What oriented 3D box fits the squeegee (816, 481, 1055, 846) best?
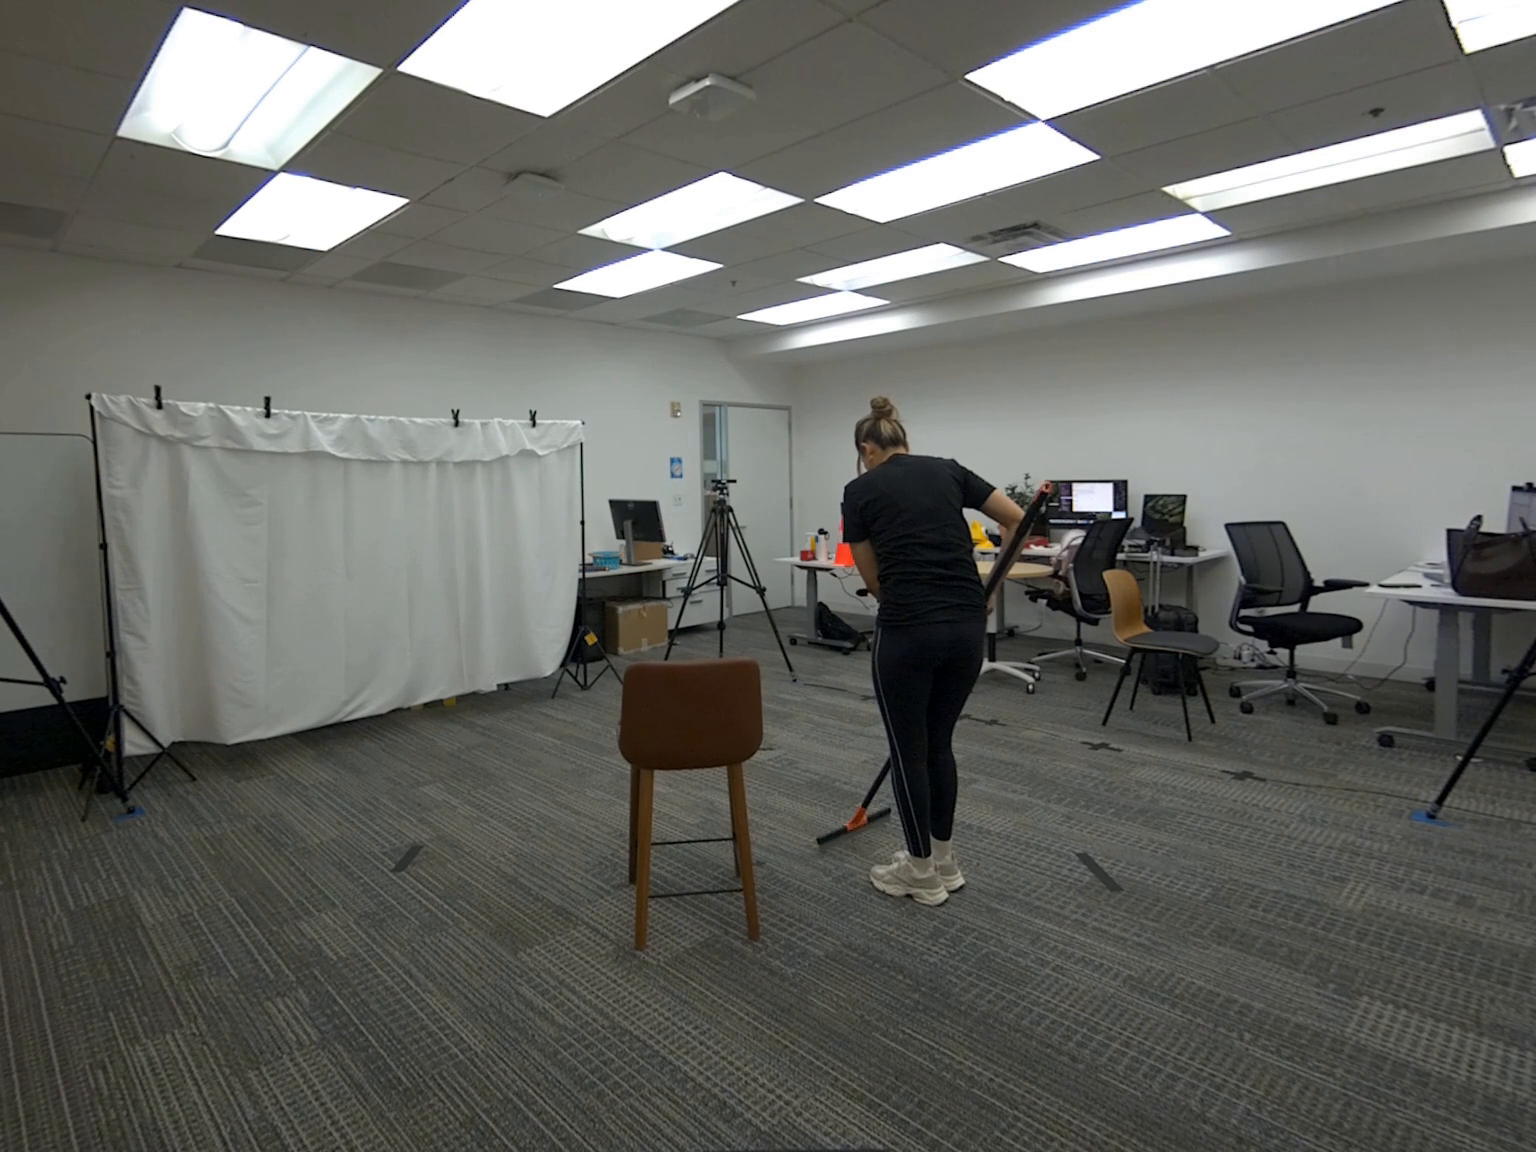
[{"bbox_3d":[0.611,0.338,2.985,0.426,1.524,0.055,-4,39,-48],"label":"squeegee"}]
